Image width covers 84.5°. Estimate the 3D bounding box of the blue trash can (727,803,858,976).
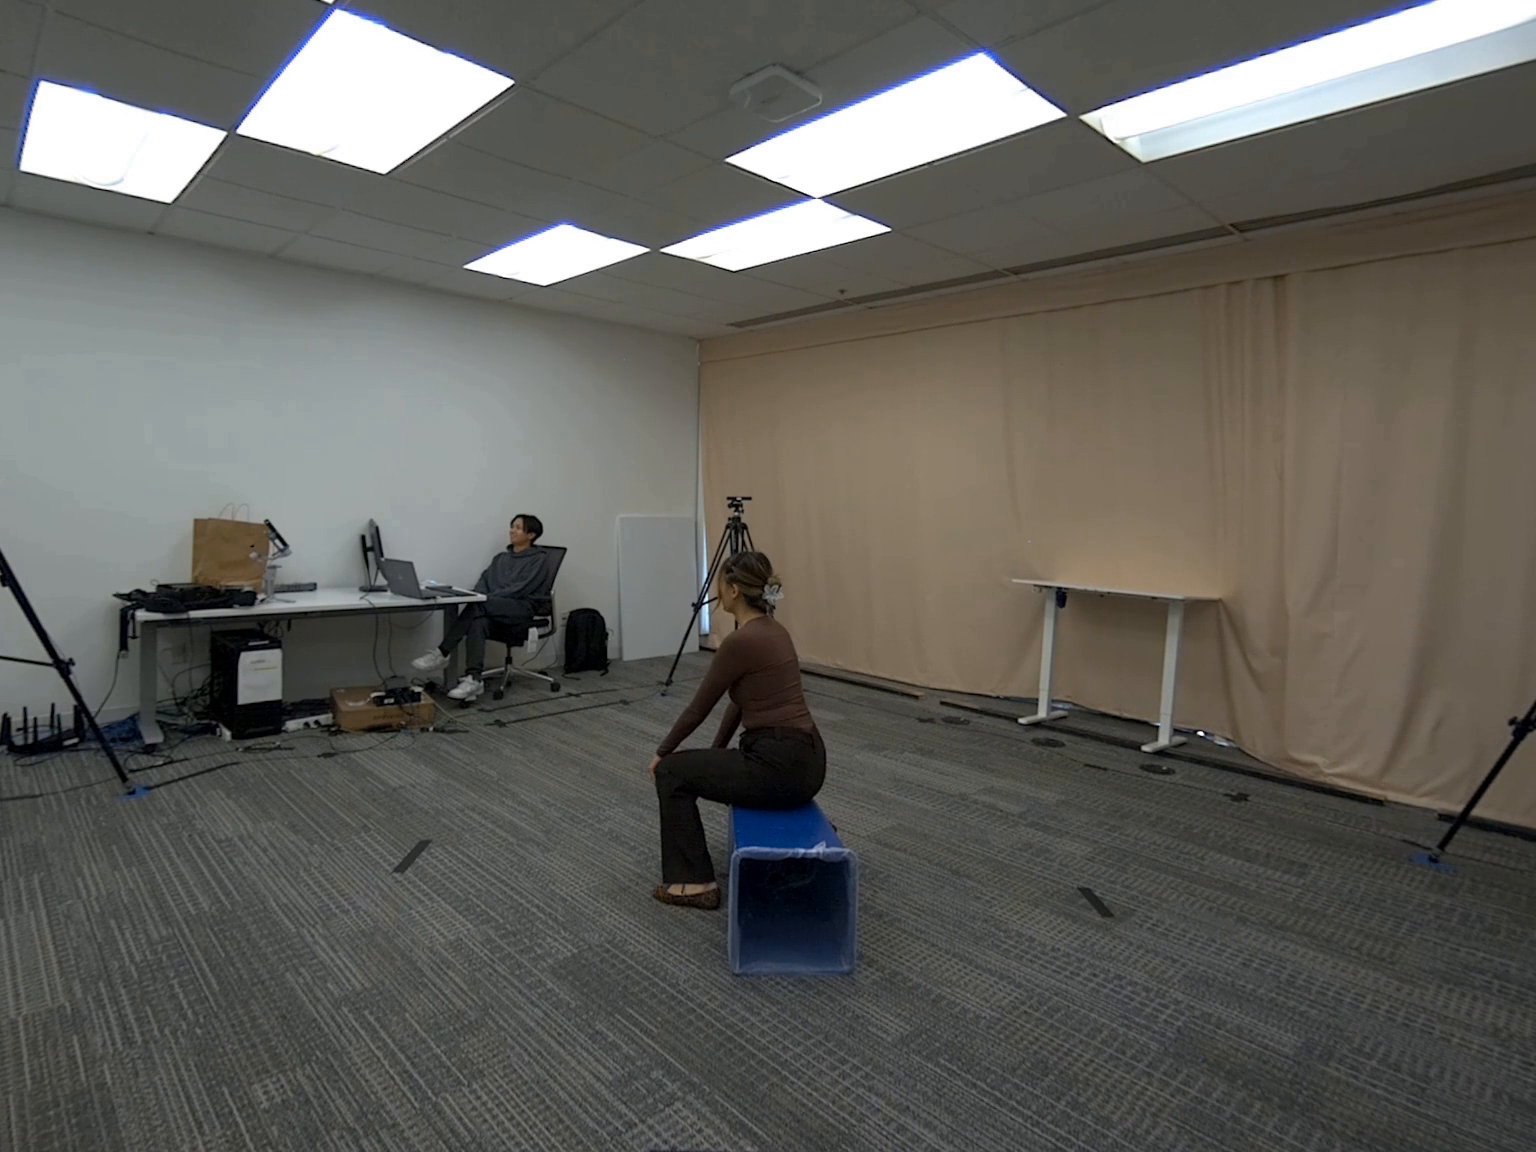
[{"bbox_3d":[0.022,0.970,2.805,0.372,0.378,0.717,0,2,-7],"label":"blue trash can"}]
